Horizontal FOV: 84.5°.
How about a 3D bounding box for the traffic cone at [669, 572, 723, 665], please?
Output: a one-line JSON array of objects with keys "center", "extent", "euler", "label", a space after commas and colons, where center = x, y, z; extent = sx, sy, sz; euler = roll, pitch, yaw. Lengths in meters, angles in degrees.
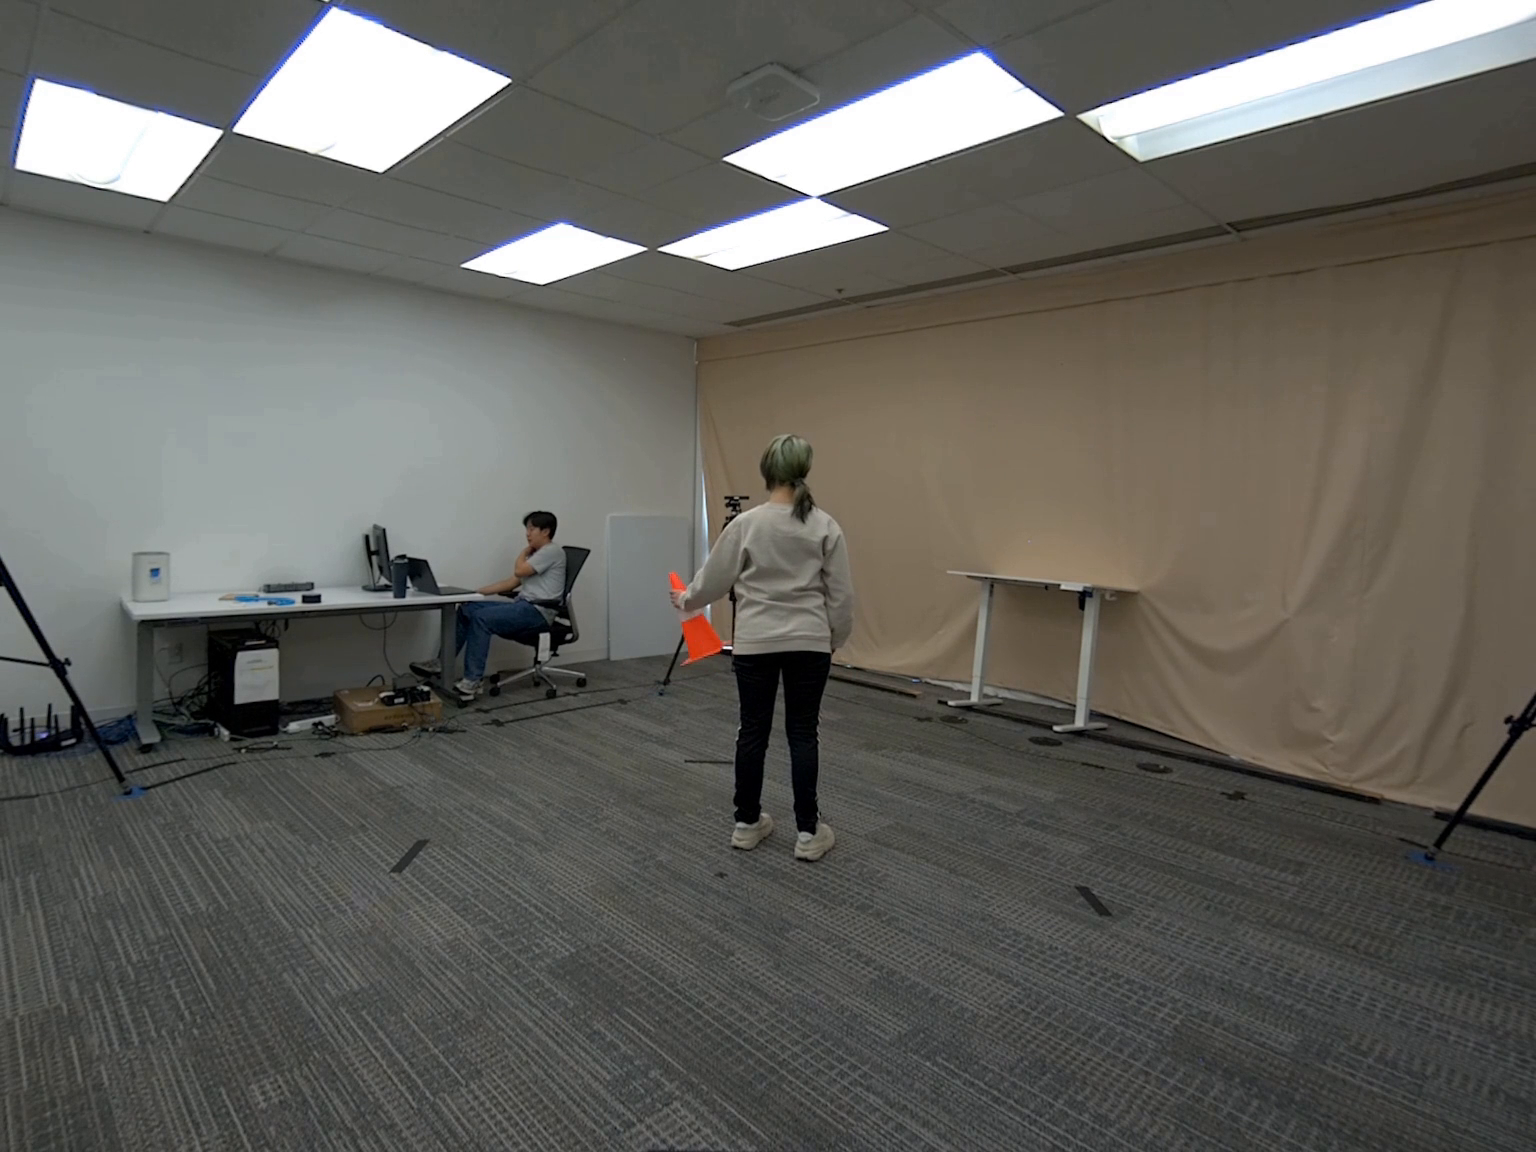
[{"center": [-0.347, 0.162, 3.679], "extent": [0.205, 0.384, 0.203], "euler": [-24, 1, 28], "label": "traffic cone"}]
